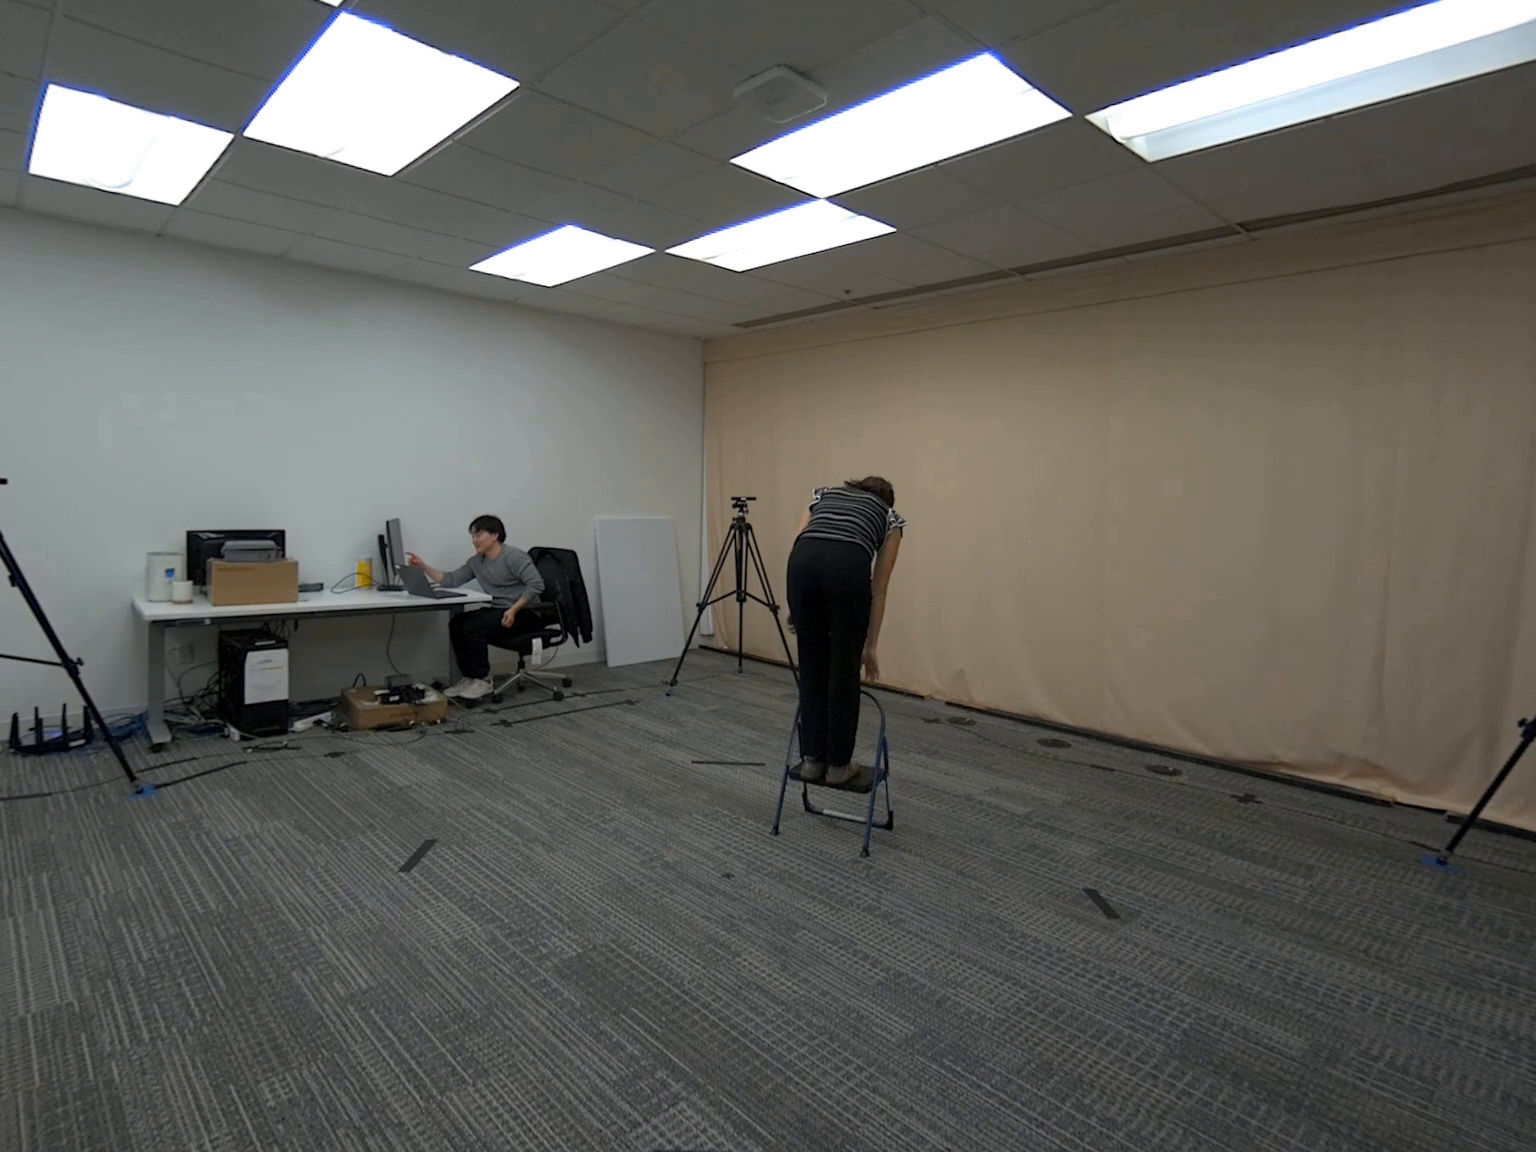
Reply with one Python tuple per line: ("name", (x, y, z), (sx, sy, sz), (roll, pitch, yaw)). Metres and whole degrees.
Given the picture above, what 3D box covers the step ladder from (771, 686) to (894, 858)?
("step ladder", (0.279, 0.779, 3.540), (0.440, 0.605, 0.343), (3, 3, 28))
